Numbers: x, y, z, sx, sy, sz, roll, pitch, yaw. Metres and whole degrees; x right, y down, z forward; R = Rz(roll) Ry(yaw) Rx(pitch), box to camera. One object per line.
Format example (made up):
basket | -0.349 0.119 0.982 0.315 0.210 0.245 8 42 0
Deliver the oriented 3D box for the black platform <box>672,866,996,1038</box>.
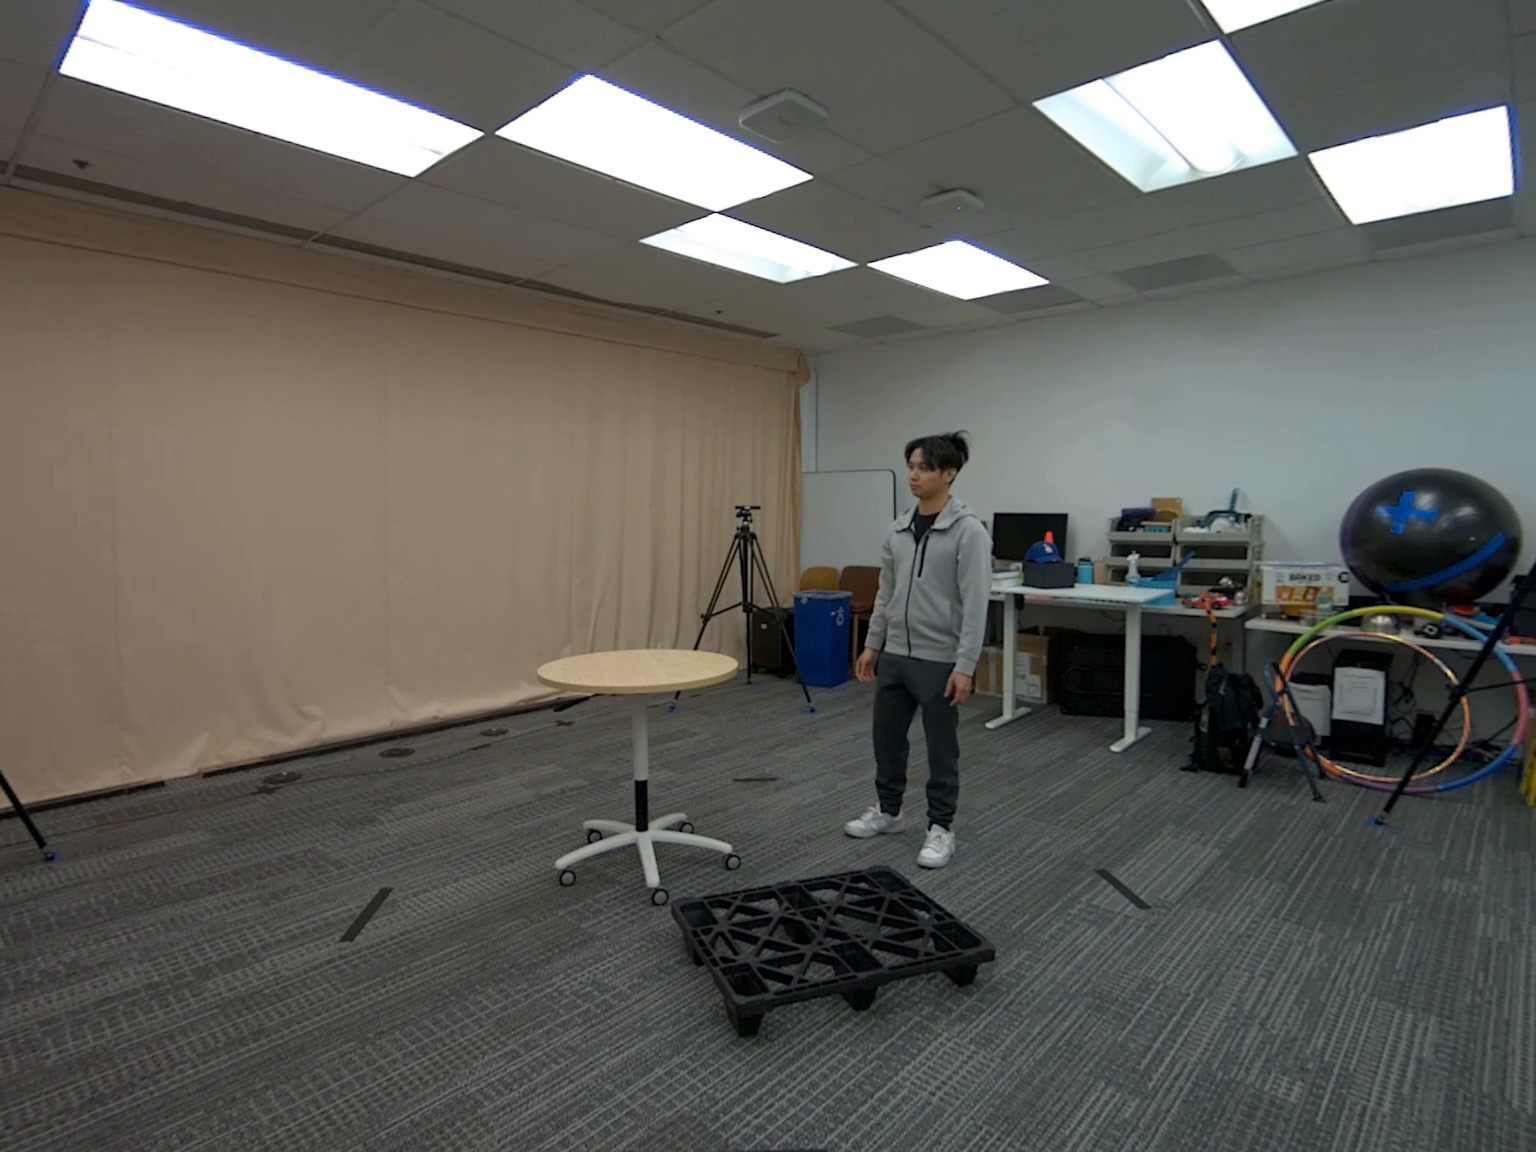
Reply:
black platform | 0.168 1.113 2.543 0.789 0.143 0.619 -2 4 -21
